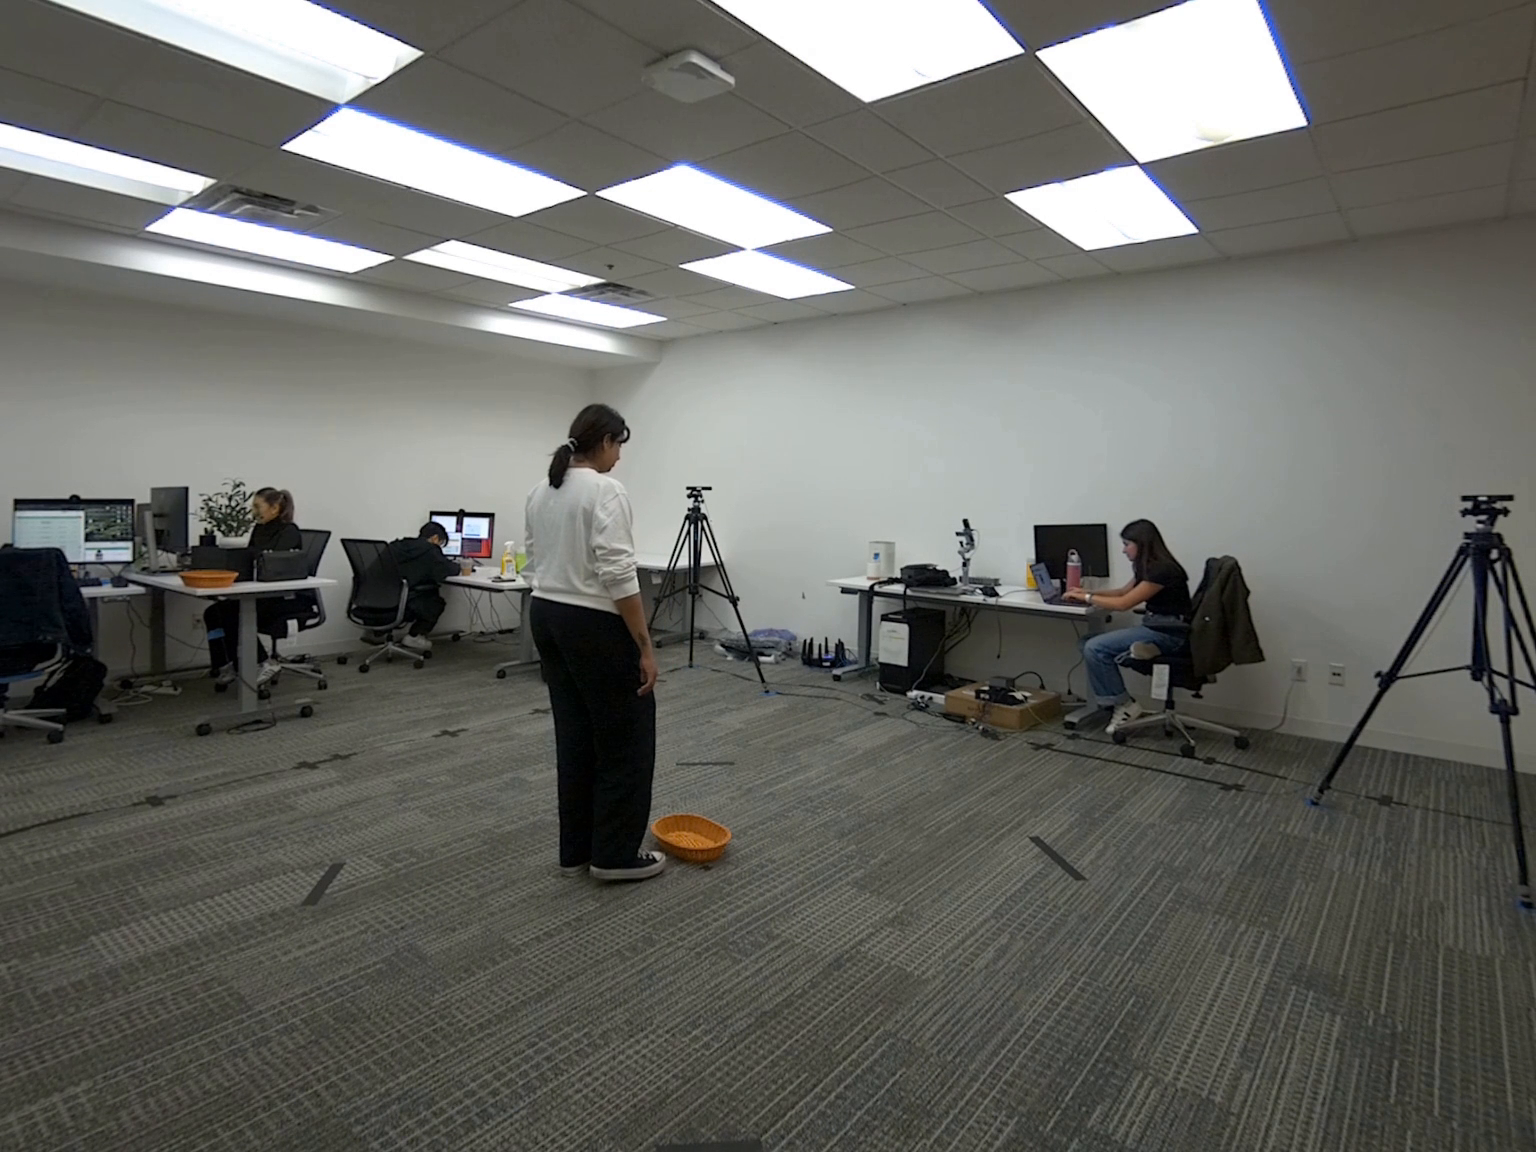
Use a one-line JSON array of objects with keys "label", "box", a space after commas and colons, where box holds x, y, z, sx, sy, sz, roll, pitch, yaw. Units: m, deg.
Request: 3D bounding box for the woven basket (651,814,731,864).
[{"label": "woven basket", "box": [-0.304, 1.006, 3.270, 0.245, 0.073, 0.362, -4, 7, -37]}]
